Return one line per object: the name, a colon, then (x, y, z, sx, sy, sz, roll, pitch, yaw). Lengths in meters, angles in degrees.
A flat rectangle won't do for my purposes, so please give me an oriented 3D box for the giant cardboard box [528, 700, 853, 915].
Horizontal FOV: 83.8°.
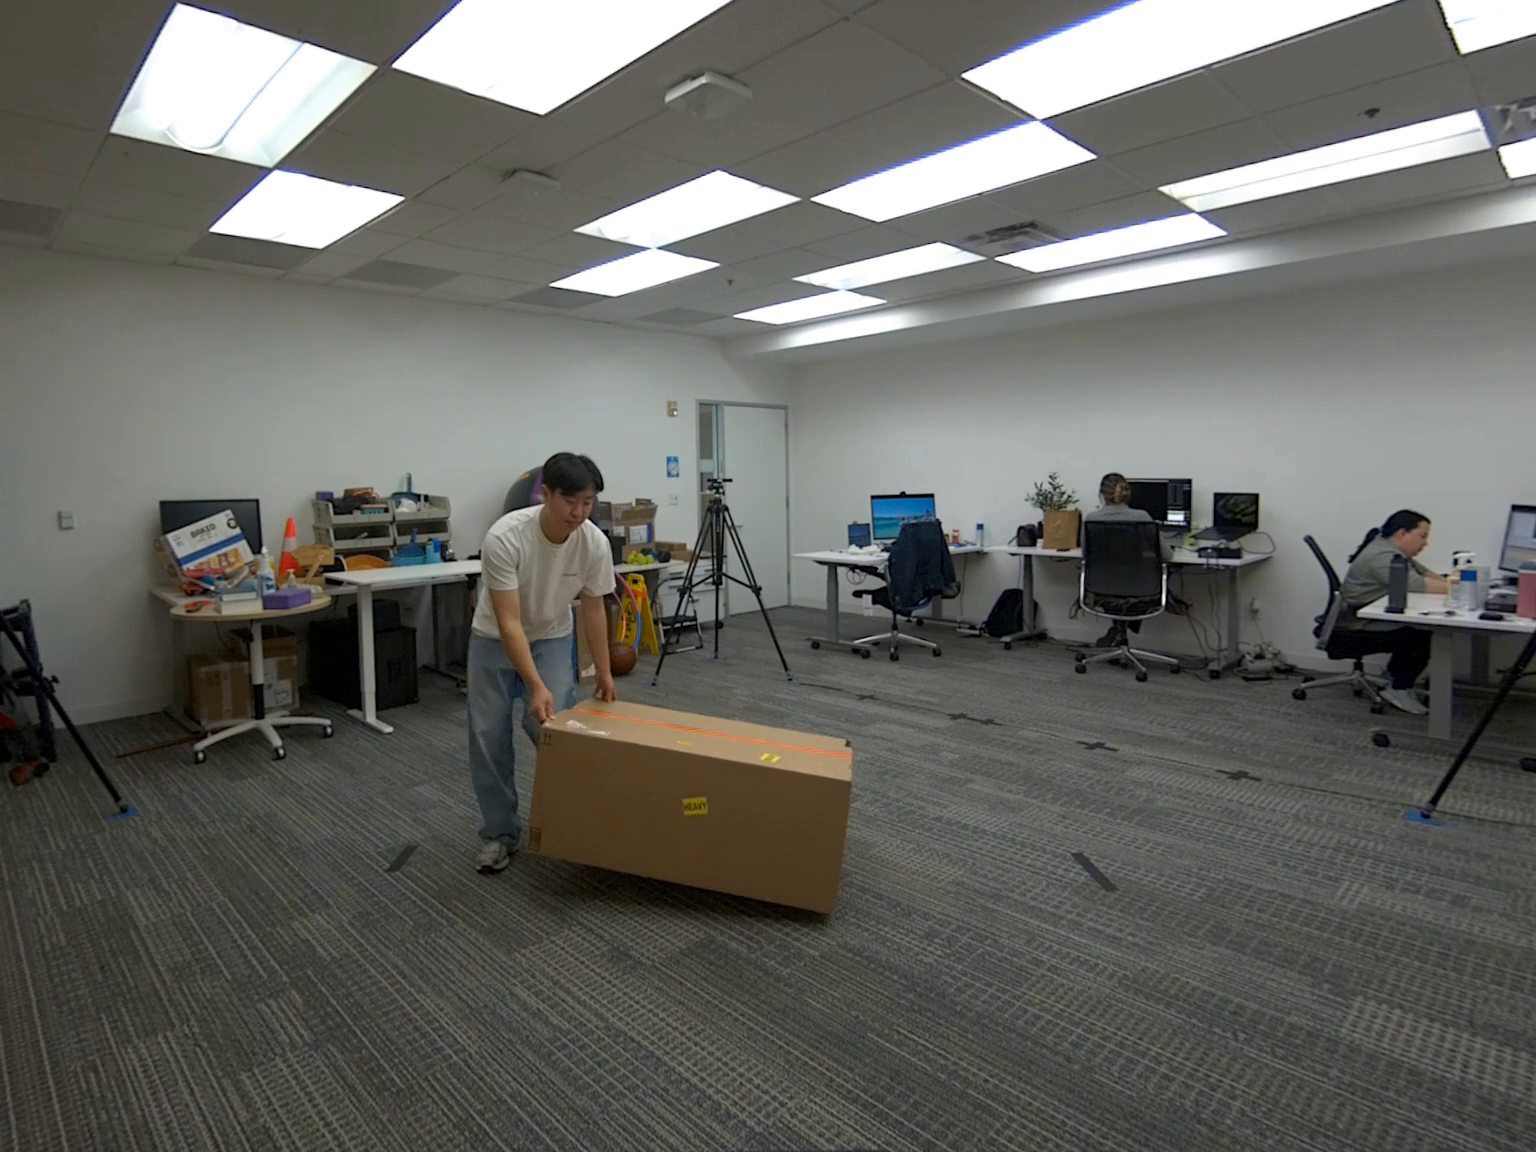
giant cardboard box: (-0.234, 0.759, 2.992, 1.035, 0.426, 0.573, 7, 2, 8)
